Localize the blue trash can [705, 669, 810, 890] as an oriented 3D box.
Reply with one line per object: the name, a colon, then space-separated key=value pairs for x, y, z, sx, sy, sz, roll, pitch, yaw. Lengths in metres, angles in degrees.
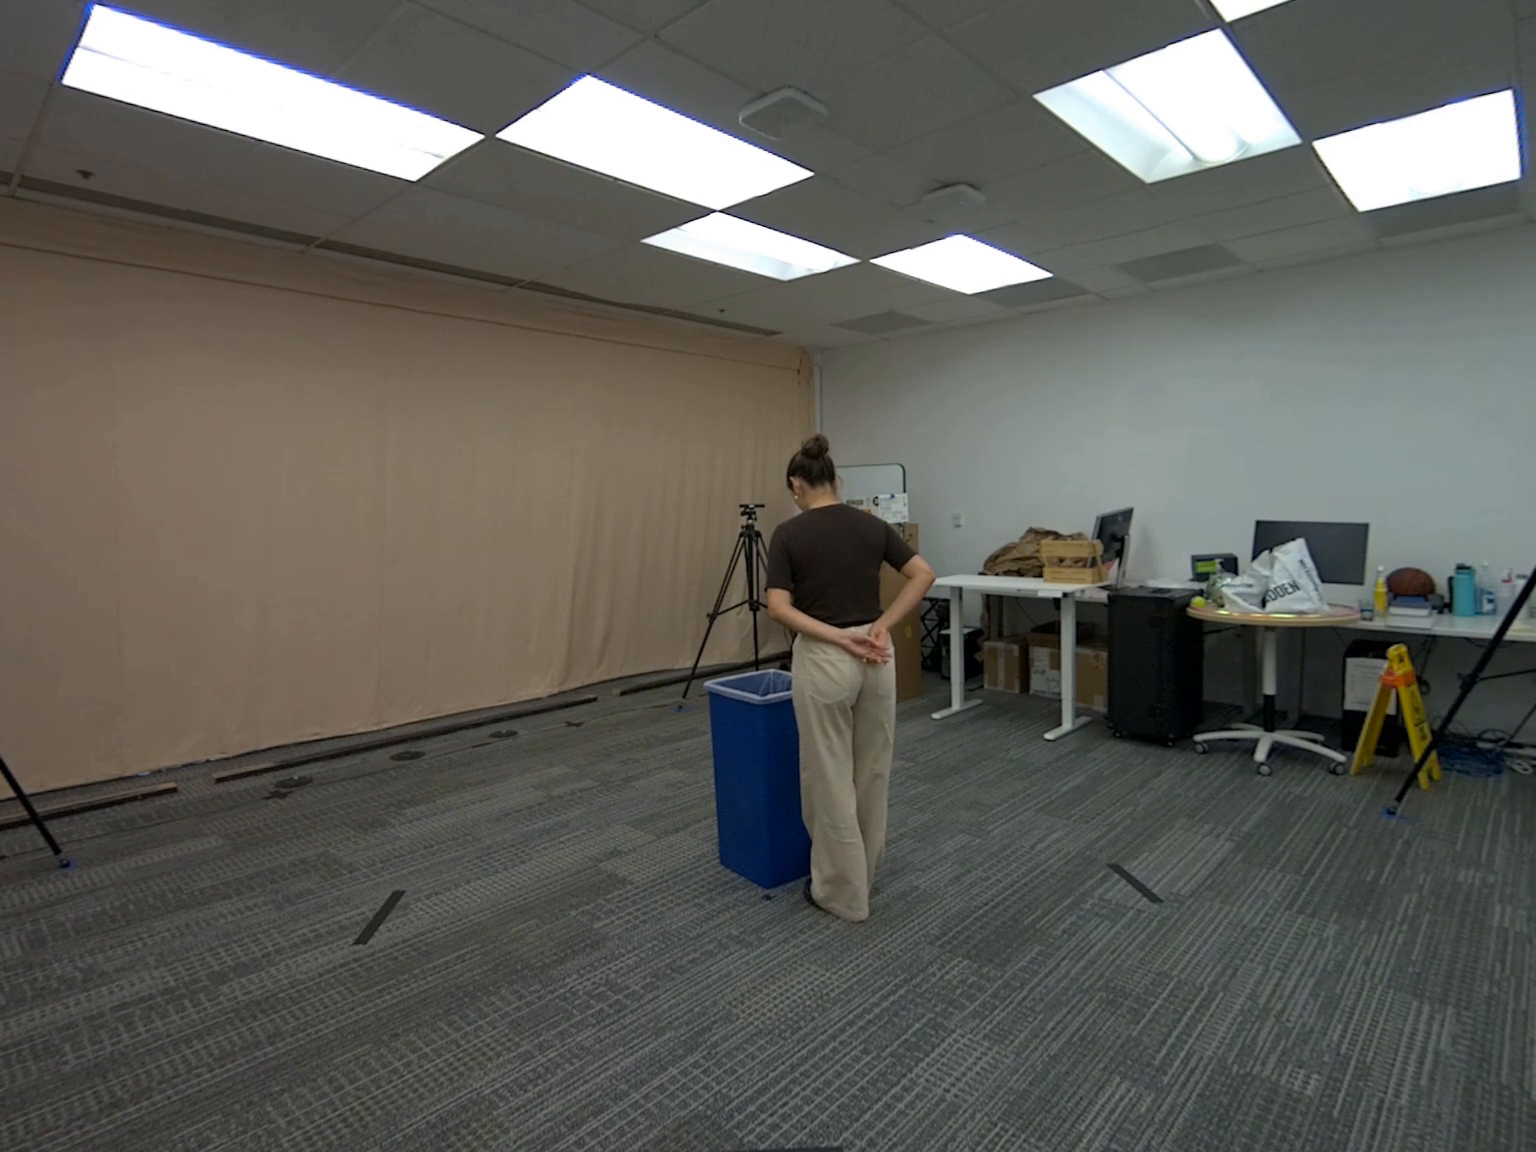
blue trash can: x=0.002 y=0.758 z=3.227 sx=0.367 sy=0.712 sz=0.386 roll=-5 pitch=5 yaw=-39
